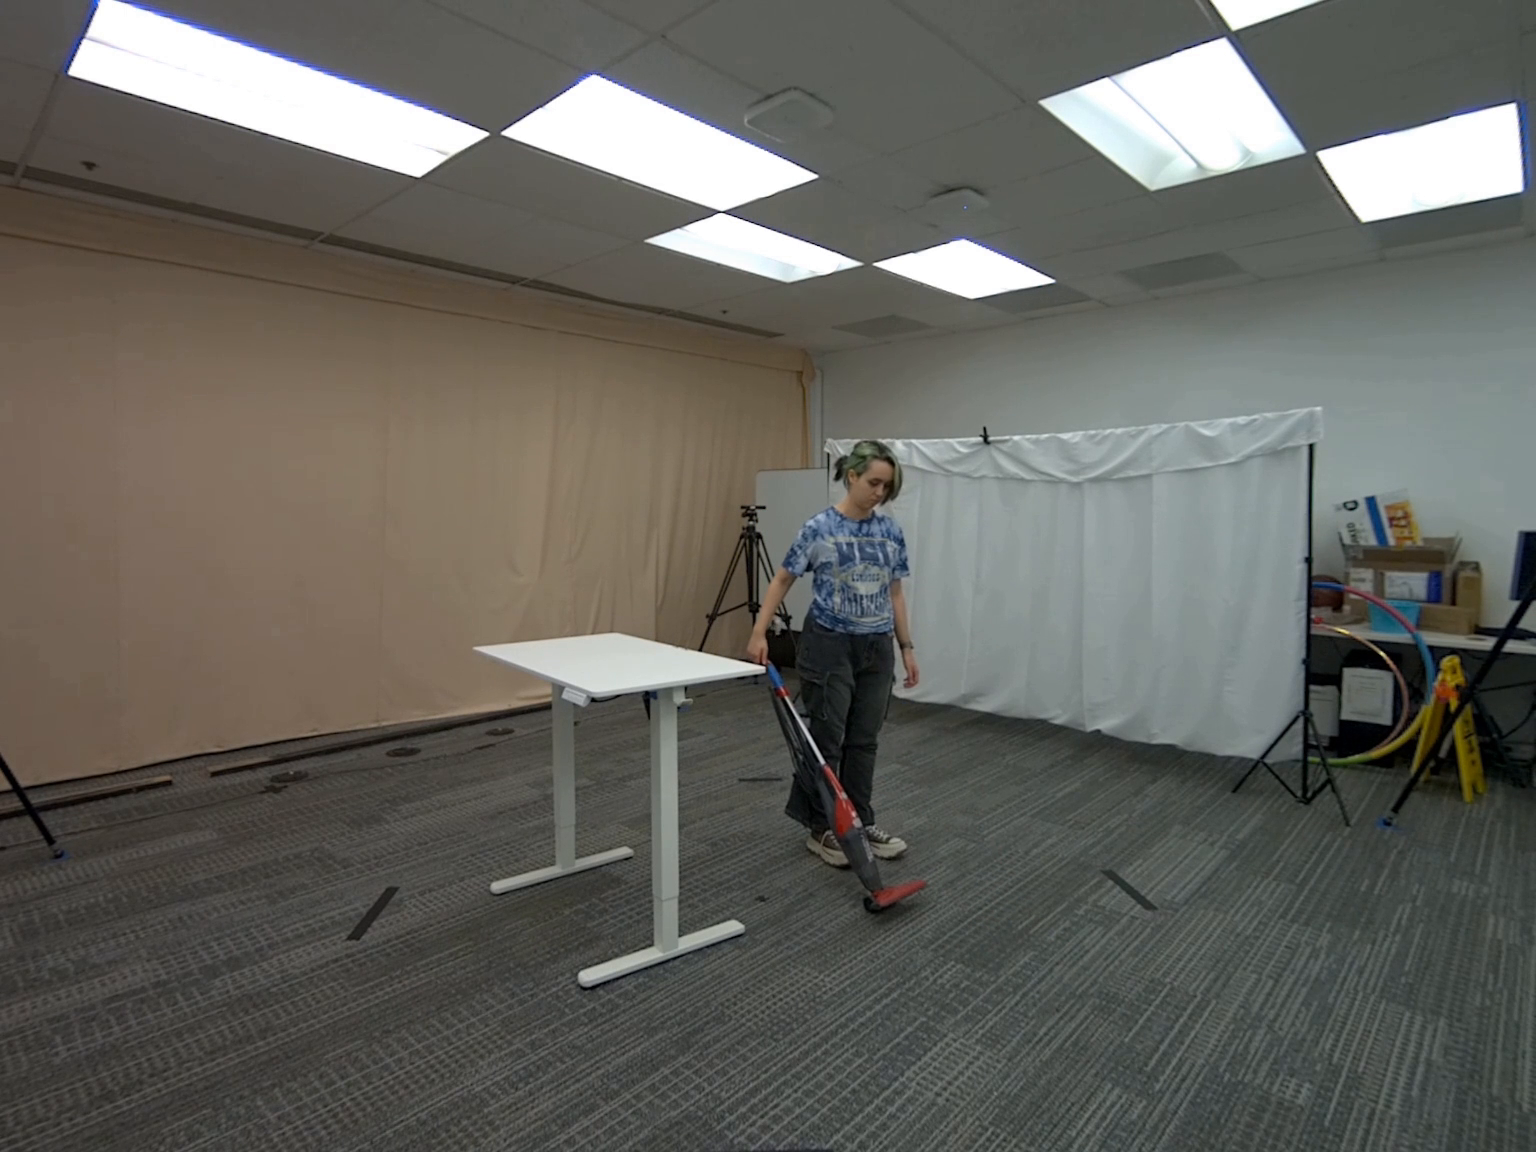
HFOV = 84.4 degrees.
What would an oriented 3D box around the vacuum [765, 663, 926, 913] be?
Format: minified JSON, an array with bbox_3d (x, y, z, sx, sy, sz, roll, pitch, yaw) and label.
[{"bbox_3d":[0.195,0.724,3.136,0.244,1.080,0.144,0,-43,-42],"label":"vacuum"}]
